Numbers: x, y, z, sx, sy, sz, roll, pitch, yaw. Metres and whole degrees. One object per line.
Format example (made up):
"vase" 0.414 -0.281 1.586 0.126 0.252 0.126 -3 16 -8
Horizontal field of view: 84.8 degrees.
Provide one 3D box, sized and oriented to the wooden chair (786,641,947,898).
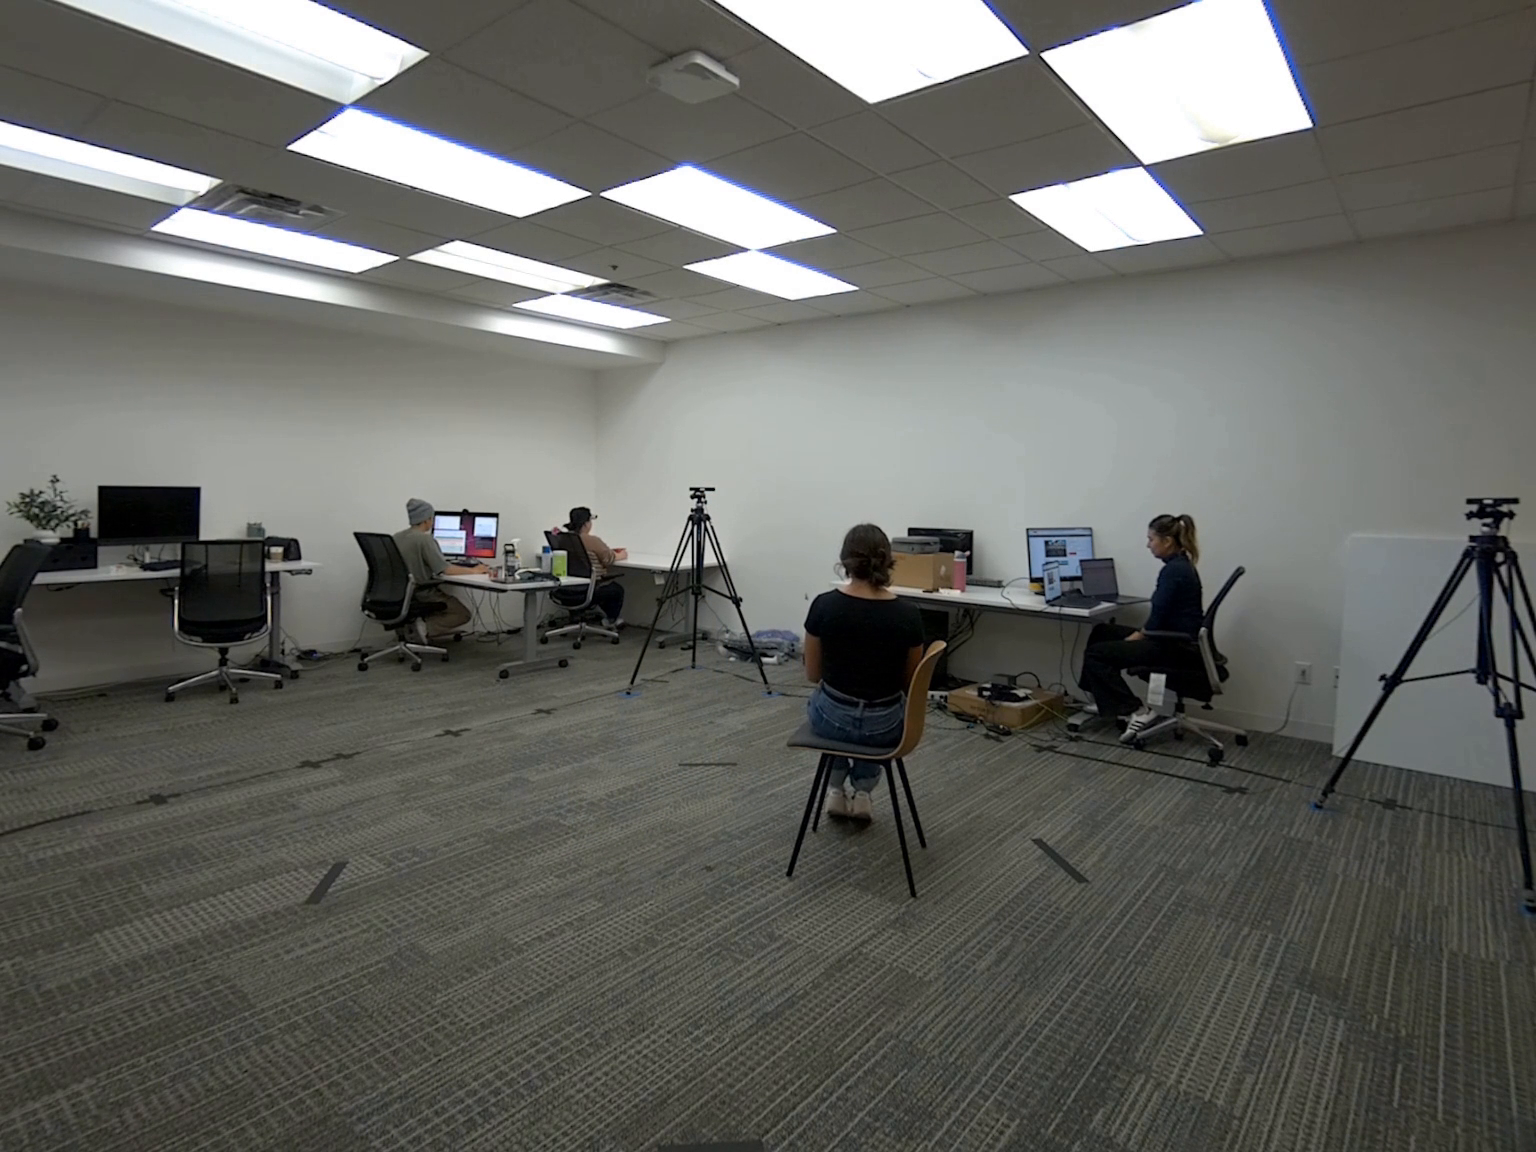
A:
"wooden chair" 0.344 0.647 3.171 0.534 0.875 0.470 7 3 17
